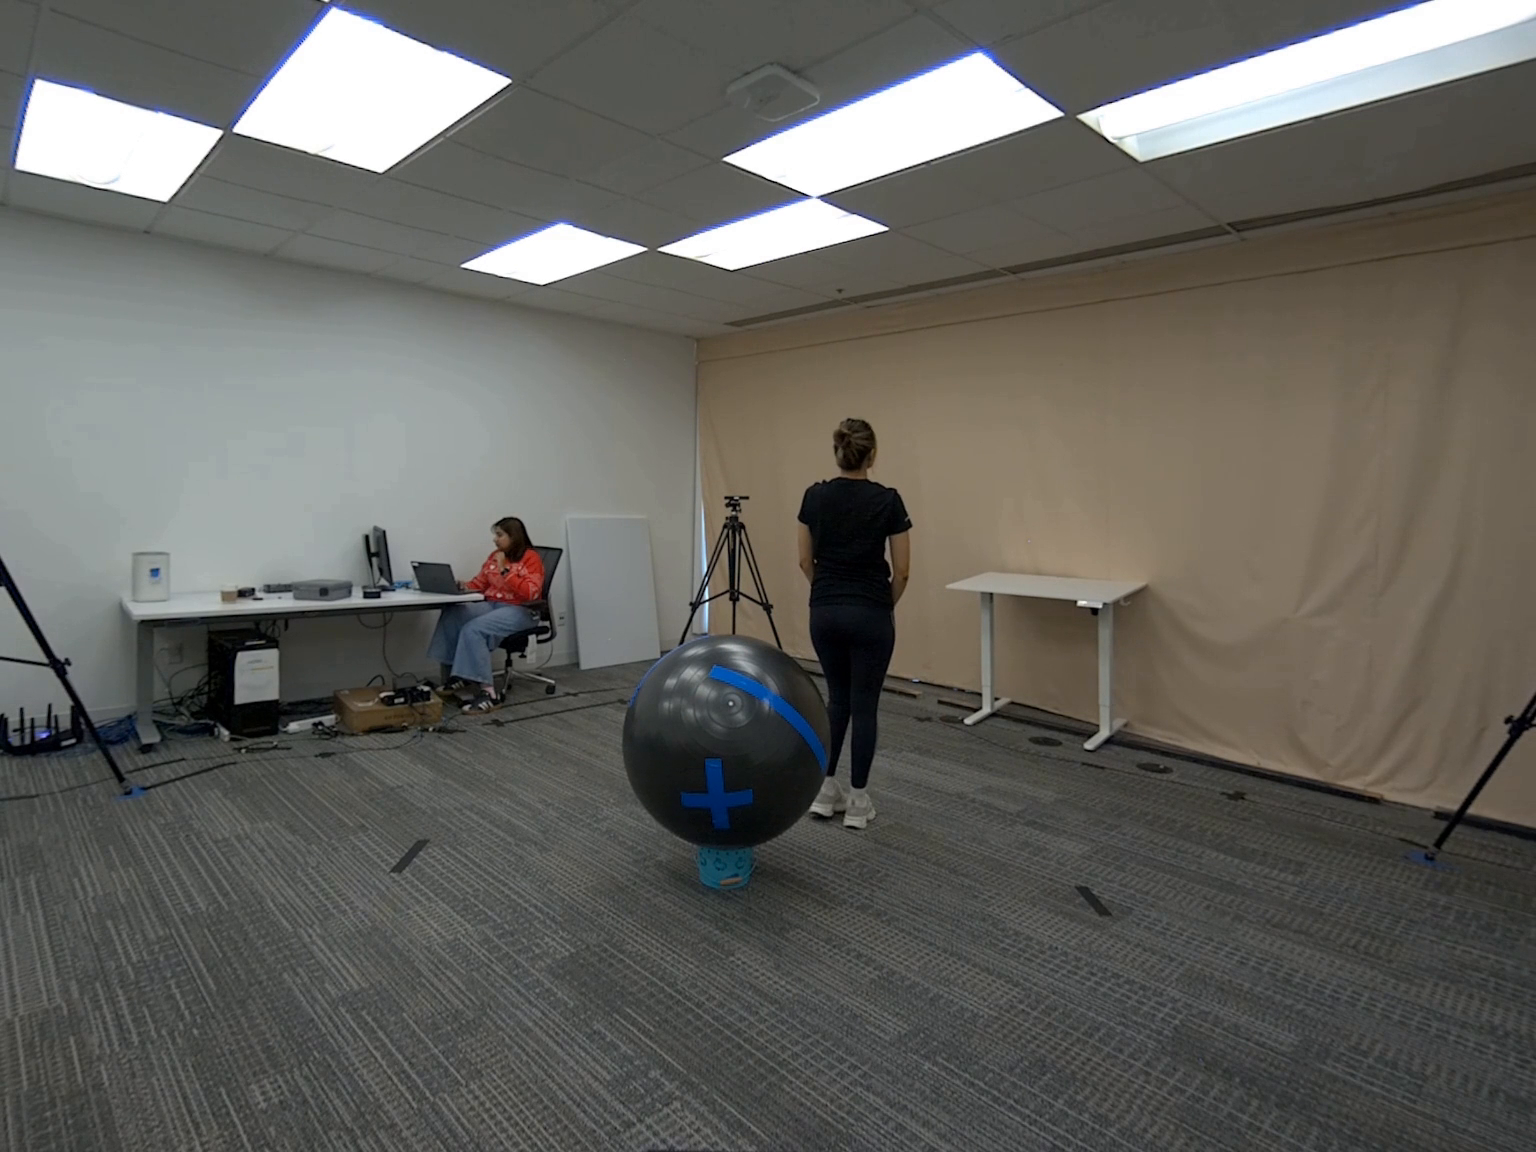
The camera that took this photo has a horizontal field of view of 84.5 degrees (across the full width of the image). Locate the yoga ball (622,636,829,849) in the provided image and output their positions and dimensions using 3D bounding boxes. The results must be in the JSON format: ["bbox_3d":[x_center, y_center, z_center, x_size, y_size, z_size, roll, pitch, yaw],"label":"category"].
[{"bbox_3d":[-0.155,0.596,3.056,0.757,0.756,0.761,1,4,-1],"label":"yoga ball"}]
